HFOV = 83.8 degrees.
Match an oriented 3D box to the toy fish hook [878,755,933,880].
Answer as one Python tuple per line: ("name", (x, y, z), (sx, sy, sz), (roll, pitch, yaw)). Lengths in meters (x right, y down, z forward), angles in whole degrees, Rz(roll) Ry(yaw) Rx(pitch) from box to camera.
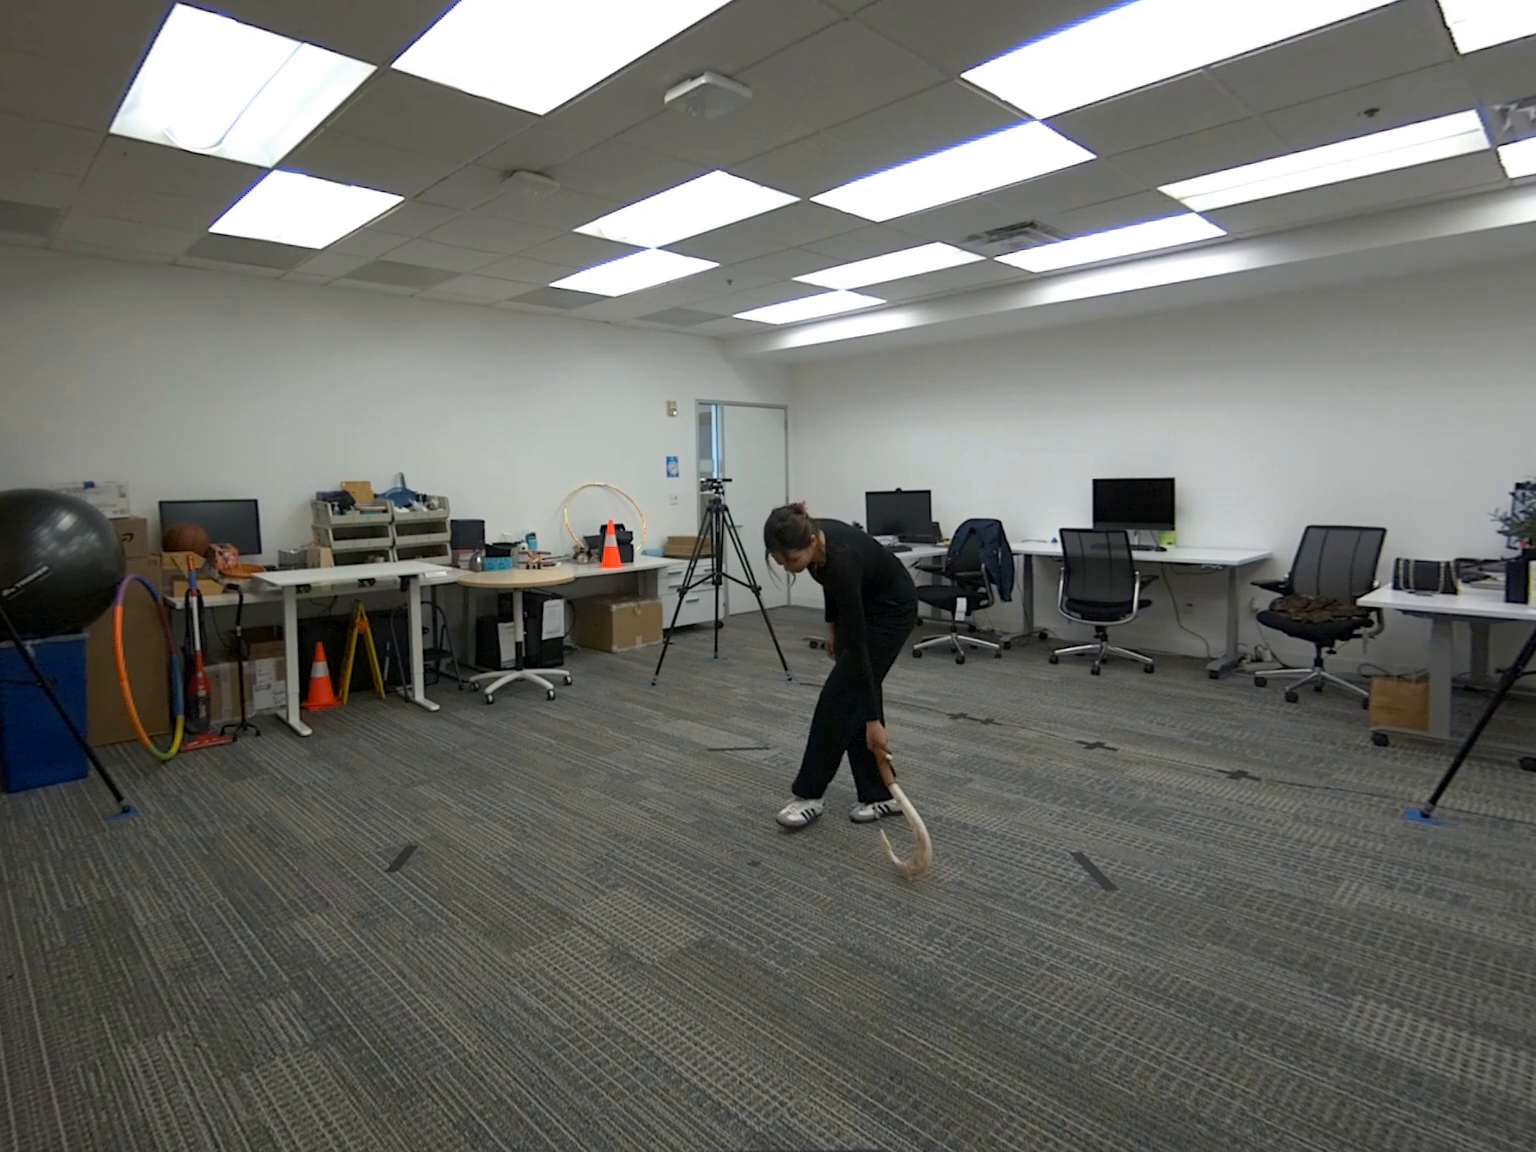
("toy fish hook", (0.442, 0.824, 3.055), (0.047, 0.523, 0.224), (8, -41, -35))
